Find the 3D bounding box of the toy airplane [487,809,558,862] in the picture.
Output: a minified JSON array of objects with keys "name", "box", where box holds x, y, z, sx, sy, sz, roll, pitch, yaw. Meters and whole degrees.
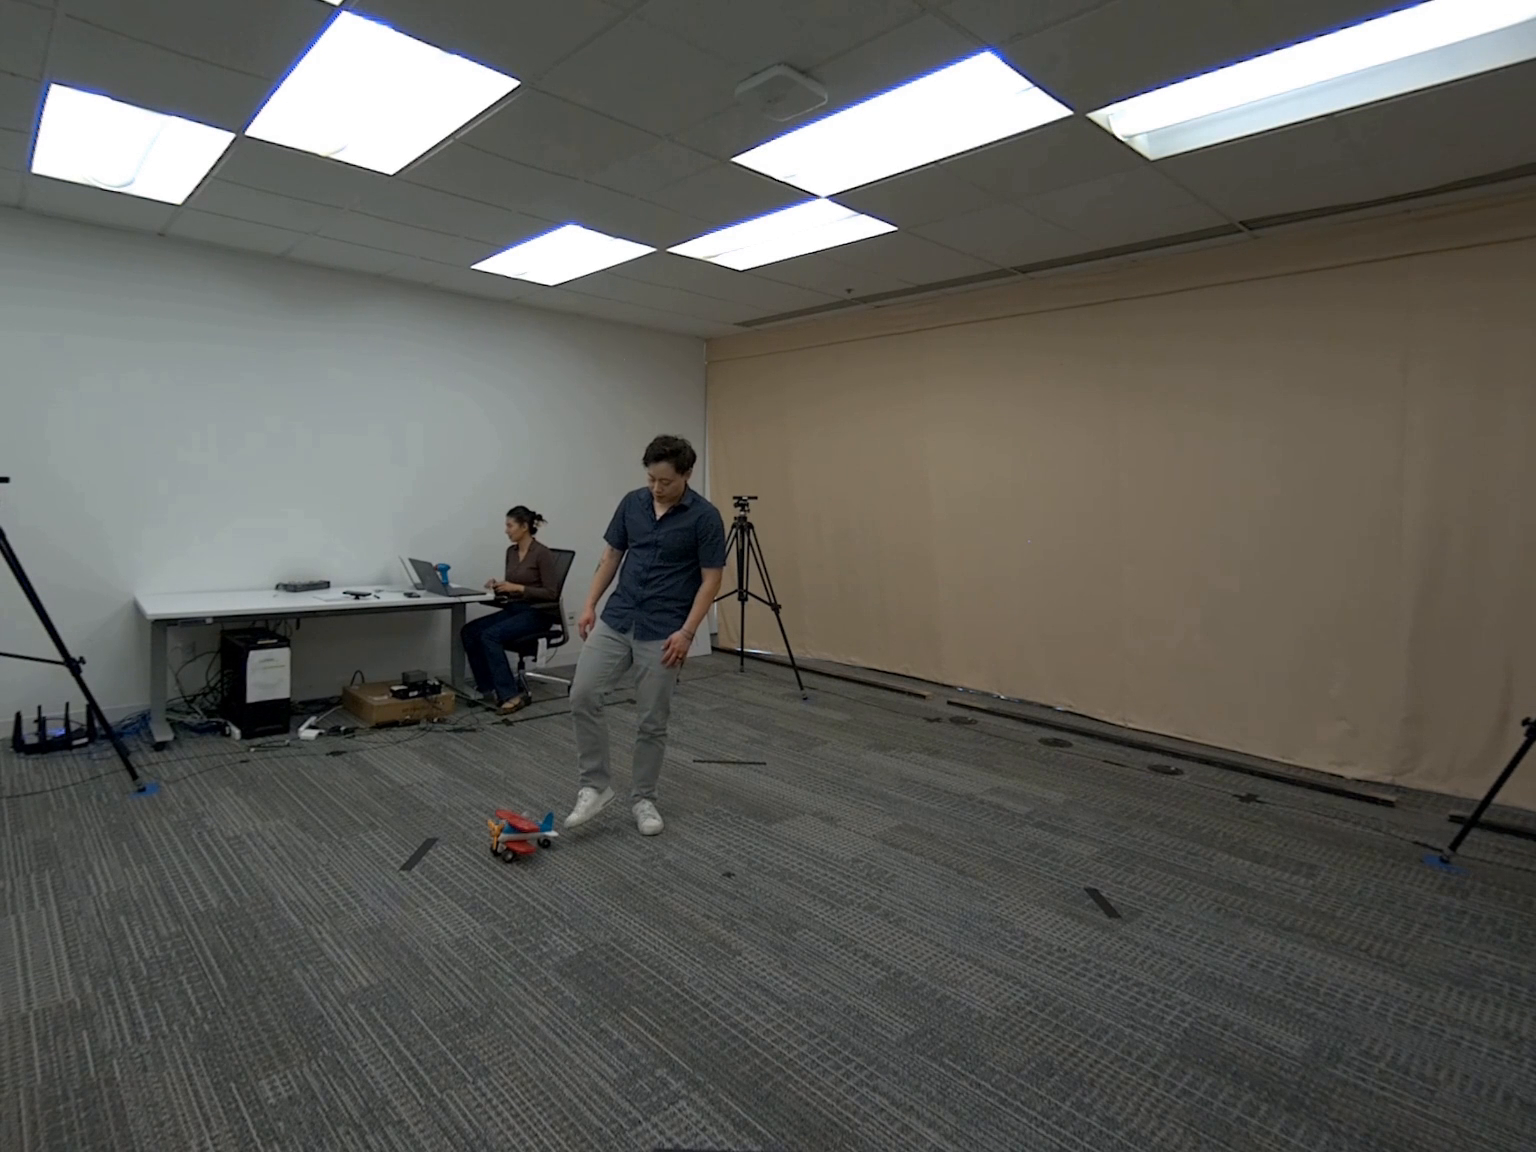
[{"name":"toy airplane","box":[-0.967,0.996,3.259,0.255,0.156,0.256,1,5,17]}]
